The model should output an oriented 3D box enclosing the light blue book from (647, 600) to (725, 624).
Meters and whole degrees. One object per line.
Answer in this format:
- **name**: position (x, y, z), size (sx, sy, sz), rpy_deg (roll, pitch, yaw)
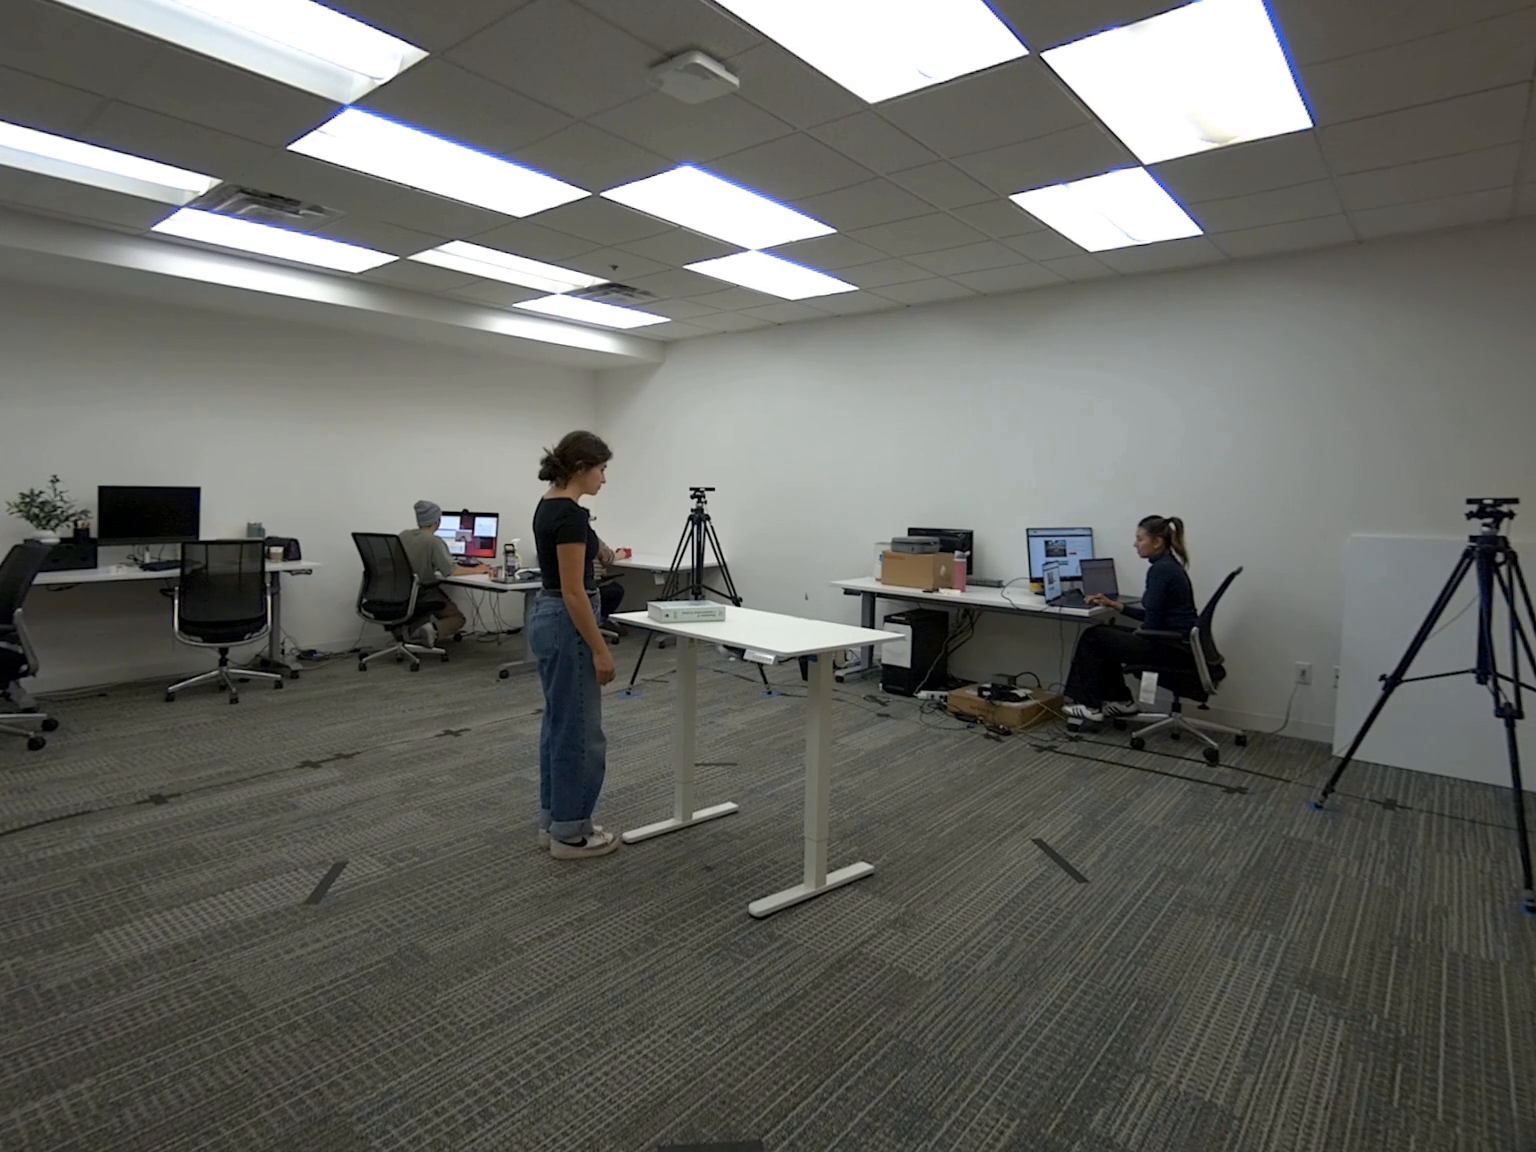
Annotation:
- **light blue book**: position (-0.342, 0.138, 3.296), size (0.255, 0.059, 0.196), rpy_deg (-1, 4, -25)
